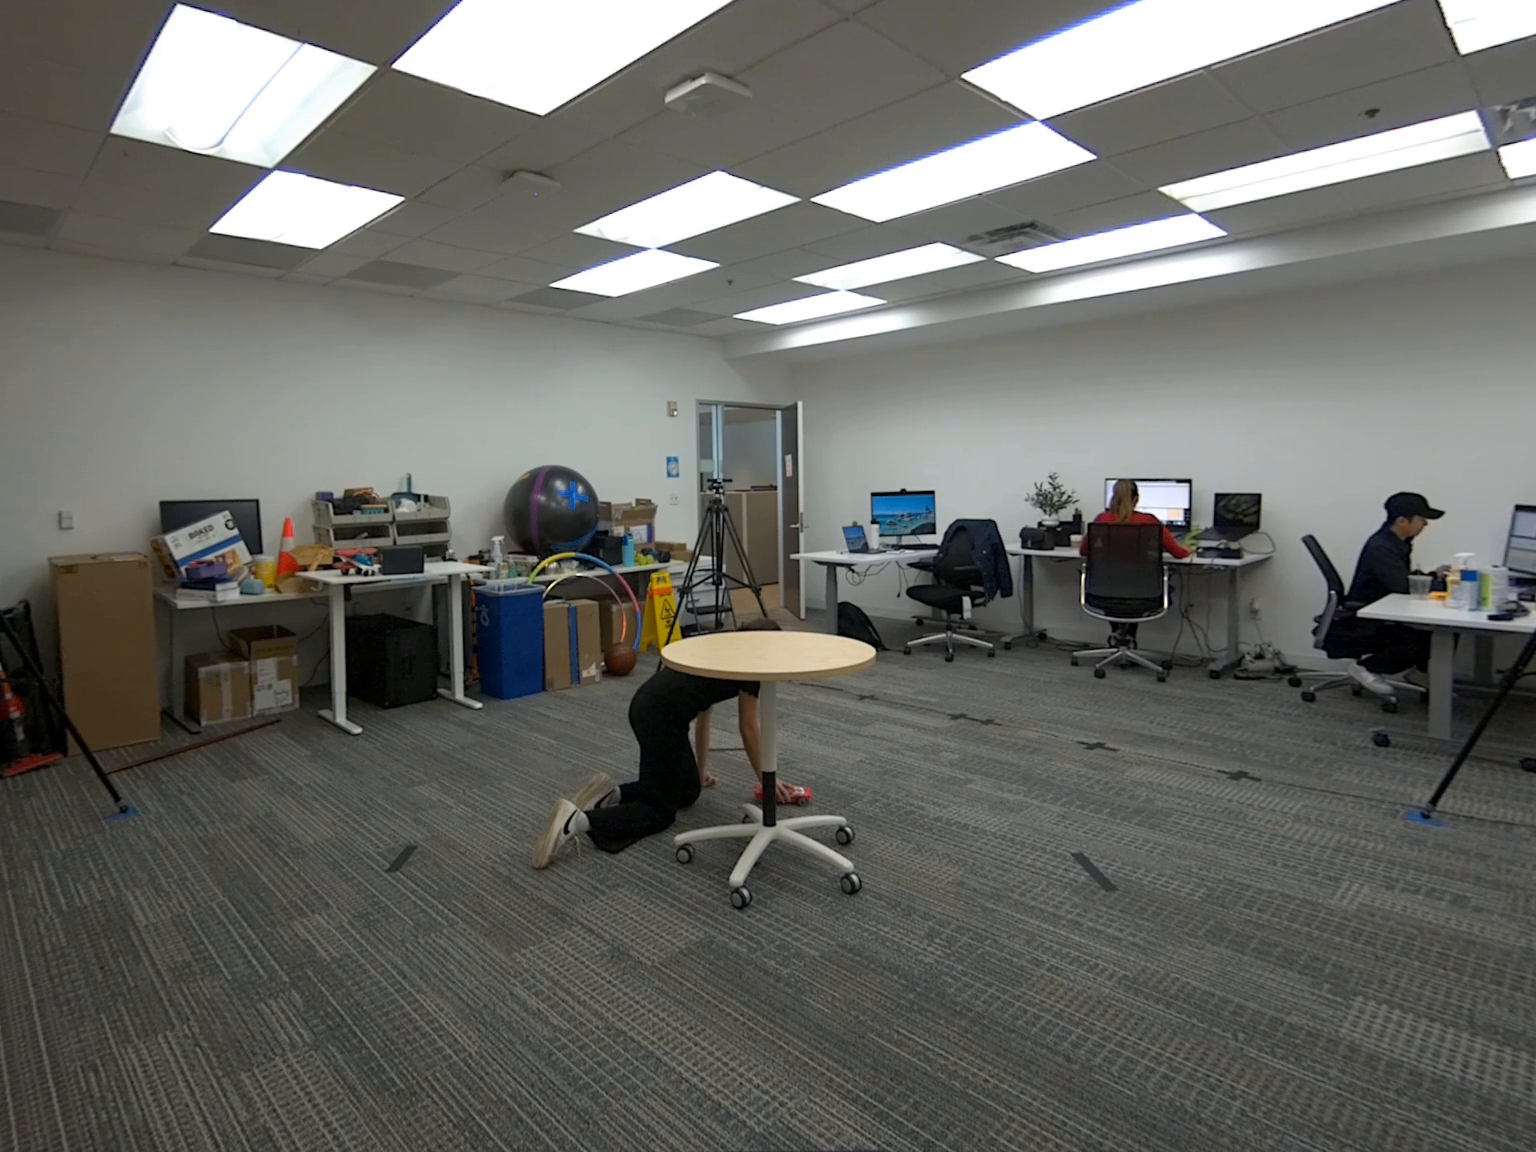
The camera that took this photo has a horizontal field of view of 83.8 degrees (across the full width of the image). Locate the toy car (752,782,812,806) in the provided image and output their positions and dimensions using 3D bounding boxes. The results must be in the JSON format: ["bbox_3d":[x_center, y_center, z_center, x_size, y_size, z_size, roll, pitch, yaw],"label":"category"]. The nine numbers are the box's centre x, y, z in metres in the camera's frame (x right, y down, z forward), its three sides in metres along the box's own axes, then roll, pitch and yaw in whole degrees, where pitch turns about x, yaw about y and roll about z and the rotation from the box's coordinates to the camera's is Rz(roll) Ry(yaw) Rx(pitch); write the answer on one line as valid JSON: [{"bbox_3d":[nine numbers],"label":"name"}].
[{"bbox_3d":[0.058,0.942,3.701,0.256,0.083,0.130,12,7,5],"label":"toy car"}]
